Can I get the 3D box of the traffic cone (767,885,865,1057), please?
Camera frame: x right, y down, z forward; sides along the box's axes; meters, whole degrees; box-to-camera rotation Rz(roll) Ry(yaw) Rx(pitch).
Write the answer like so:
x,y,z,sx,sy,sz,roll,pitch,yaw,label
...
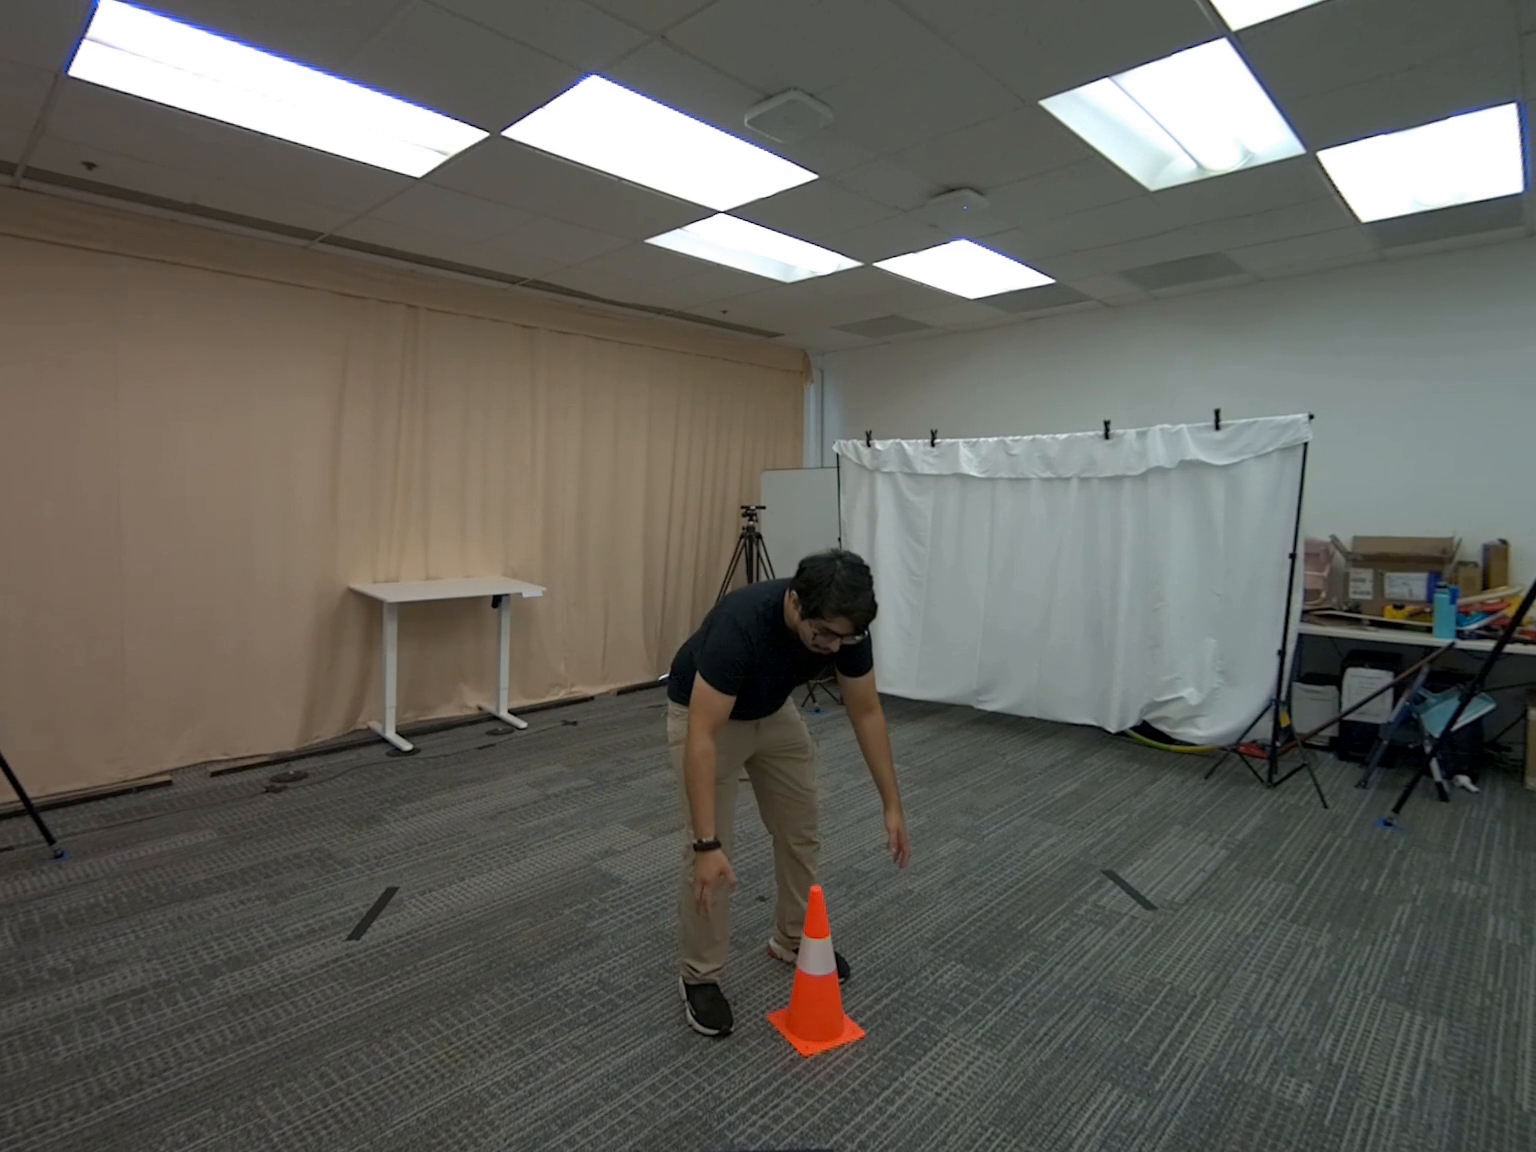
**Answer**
x,y,z,sx,sy,sz,roll,pitch,yaw,label
0.129,1.015,2.249,0.198,0.383,0.211,0,3,-32,traffic cone
